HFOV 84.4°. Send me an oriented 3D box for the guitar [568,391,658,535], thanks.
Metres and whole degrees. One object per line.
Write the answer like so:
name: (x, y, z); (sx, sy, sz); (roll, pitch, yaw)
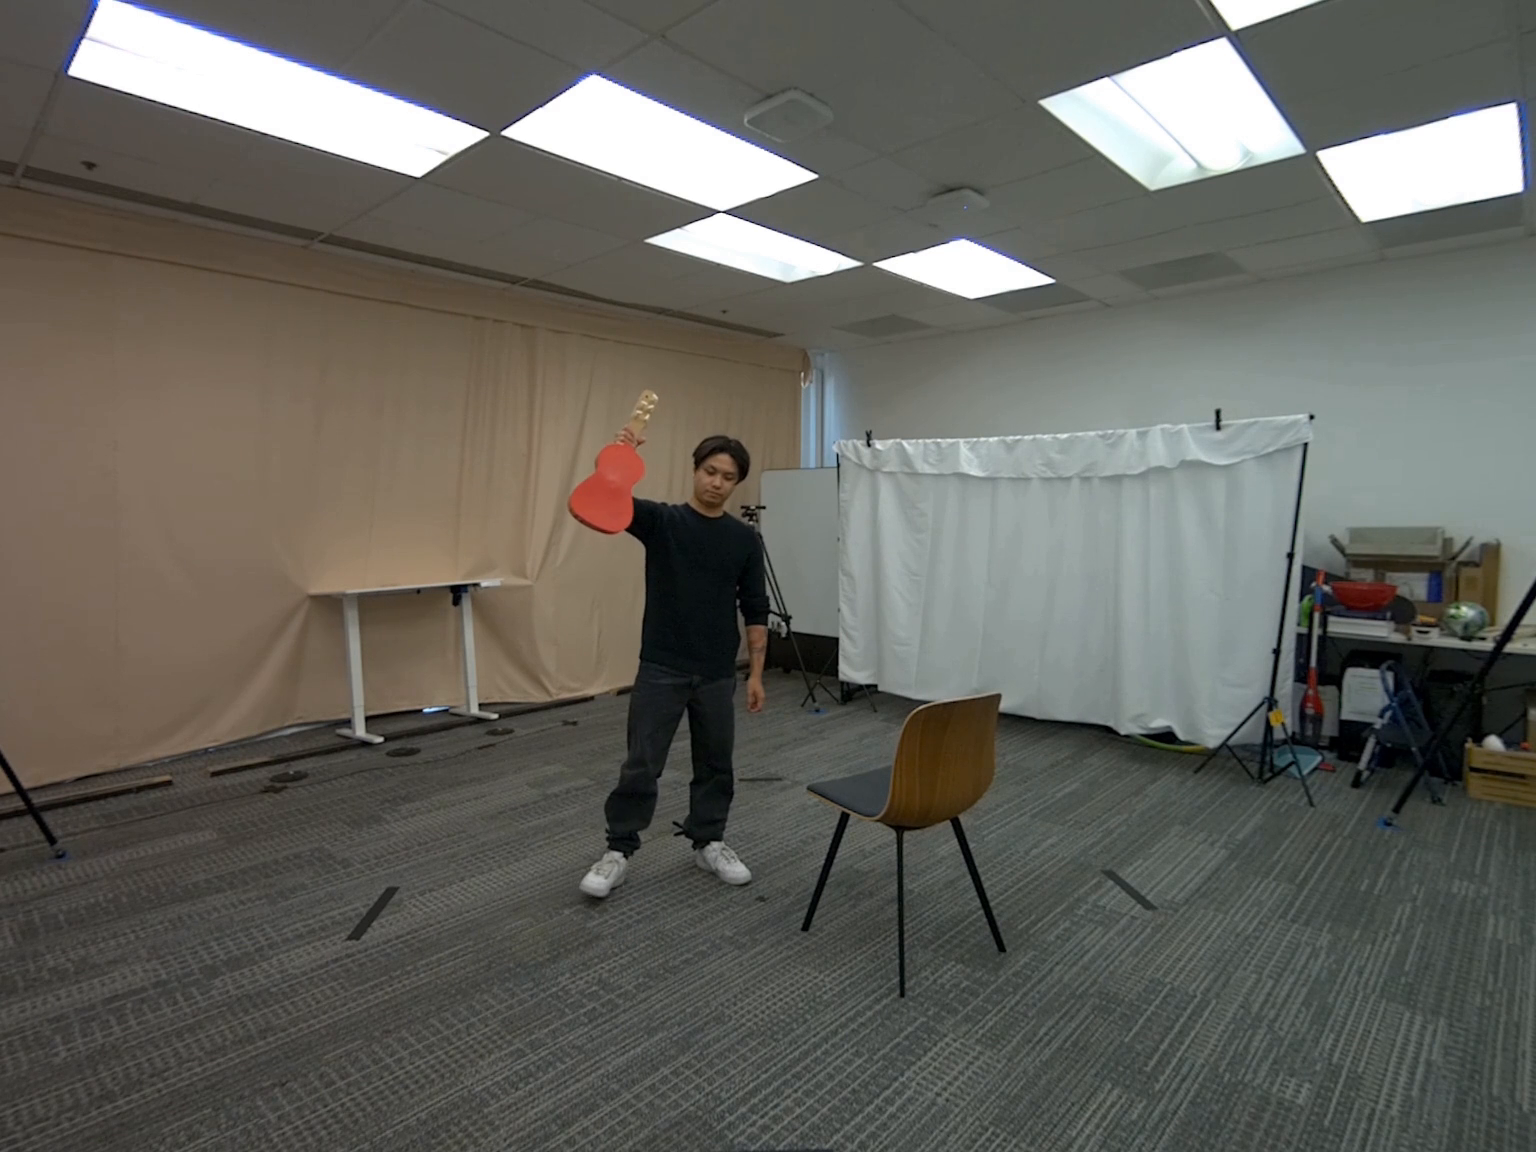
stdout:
guitar: (-0.470, -0.375, 2.590); (0.189, 0.501, 0.072); (16, -16, -18)
